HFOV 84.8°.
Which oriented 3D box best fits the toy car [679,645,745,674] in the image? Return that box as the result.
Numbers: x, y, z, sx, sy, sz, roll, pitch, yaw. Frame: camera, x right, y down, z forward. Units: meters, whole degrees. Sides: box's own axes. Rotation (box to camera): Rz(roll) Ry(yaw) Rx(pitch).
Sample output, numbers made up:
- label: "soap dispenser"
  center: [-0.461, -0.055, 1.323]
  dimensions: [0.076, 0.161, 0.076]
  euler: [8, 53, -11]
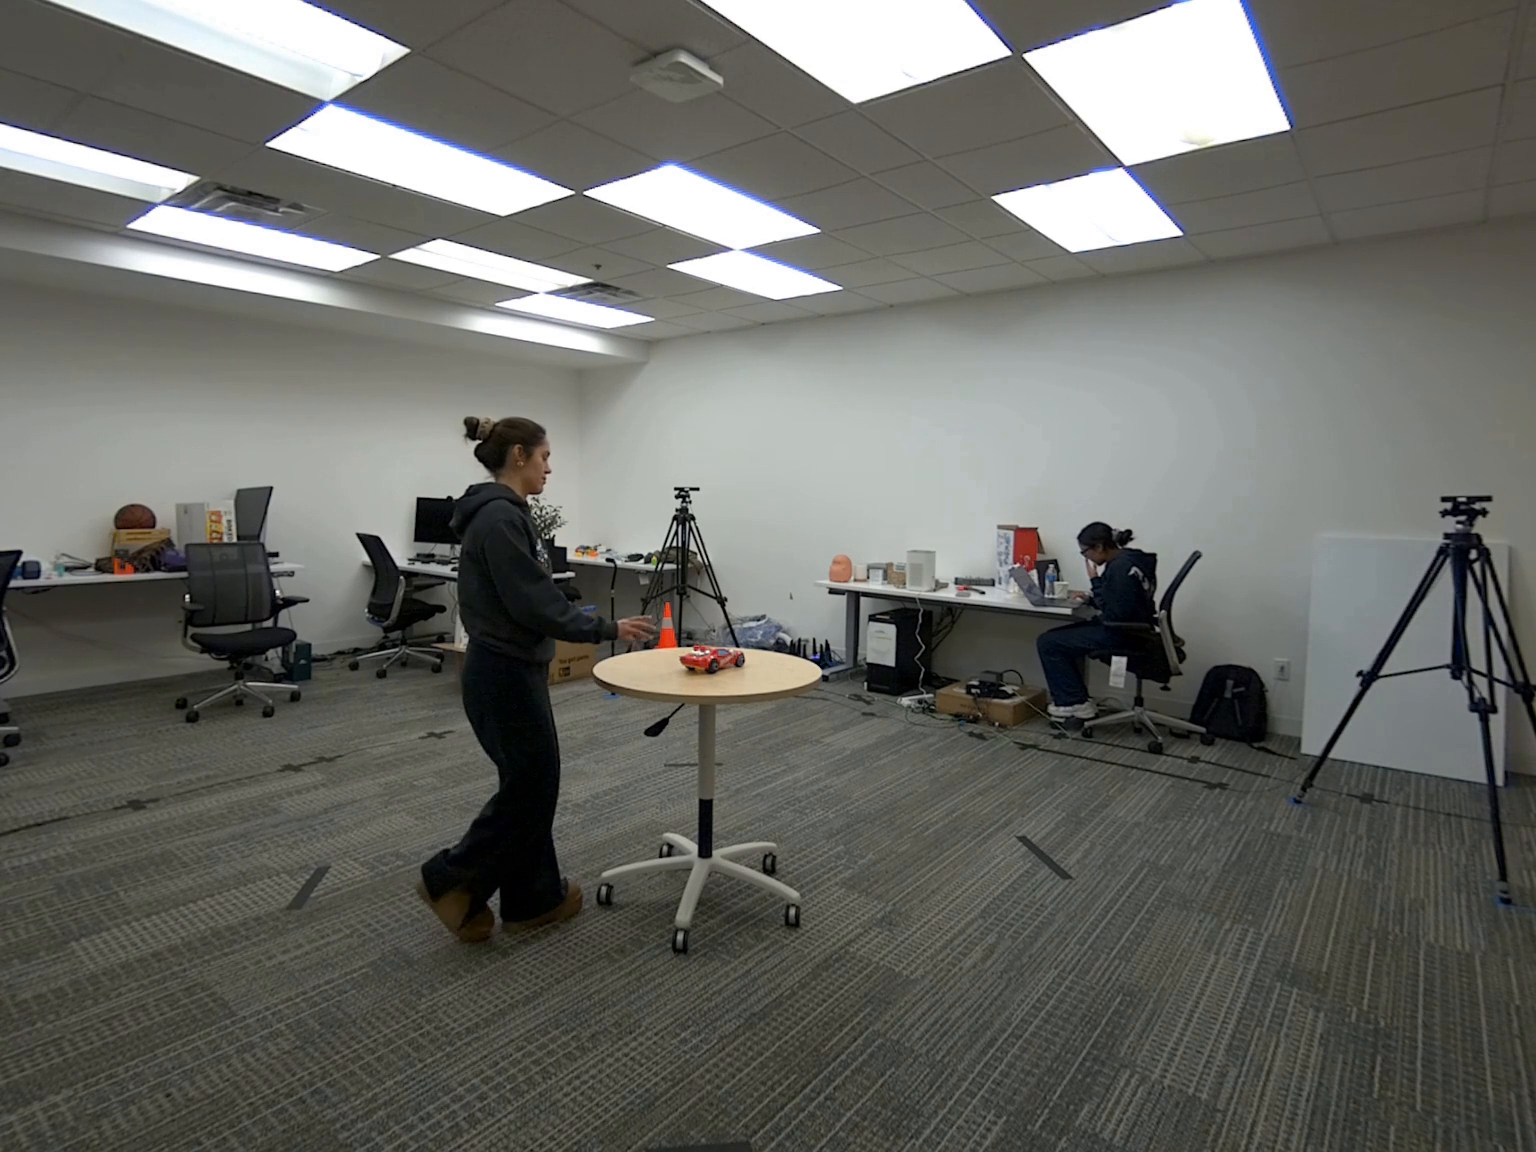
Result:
- label: "toy car"
  center: [-0.195, 0.282, 2.839]
  dimensions: [0.134, 0.083, 0.245]
  euler: [5, -4, 38]
